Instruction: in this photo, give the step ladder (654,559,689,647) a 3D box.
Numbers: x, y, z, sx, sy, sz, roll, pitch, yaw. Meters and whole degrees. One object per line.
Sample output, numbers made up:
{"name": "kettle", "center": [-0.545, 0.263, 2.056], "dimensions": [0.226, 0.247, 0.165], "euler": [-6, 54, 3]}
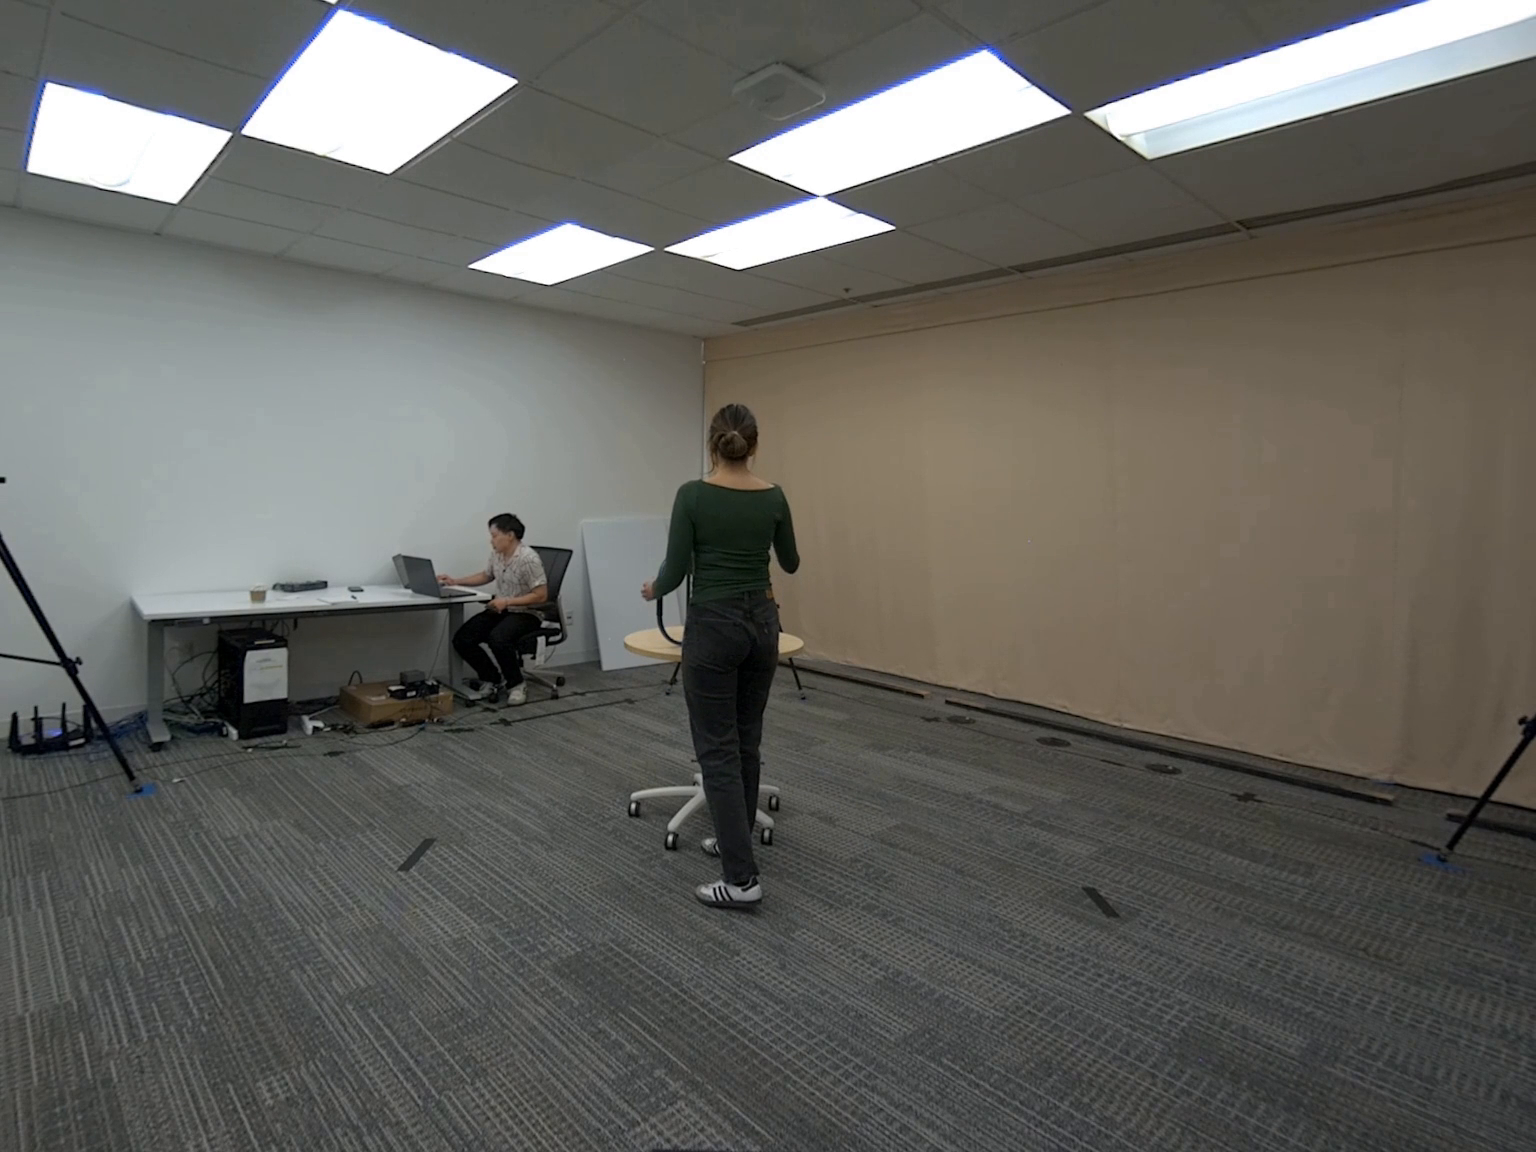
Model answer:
{"name": "step ladder", "center": [-0.240, 0.069, 3.571], "dimensions": [0.356, 0.429, 0.597], "euler": [1, 5, 24]}
